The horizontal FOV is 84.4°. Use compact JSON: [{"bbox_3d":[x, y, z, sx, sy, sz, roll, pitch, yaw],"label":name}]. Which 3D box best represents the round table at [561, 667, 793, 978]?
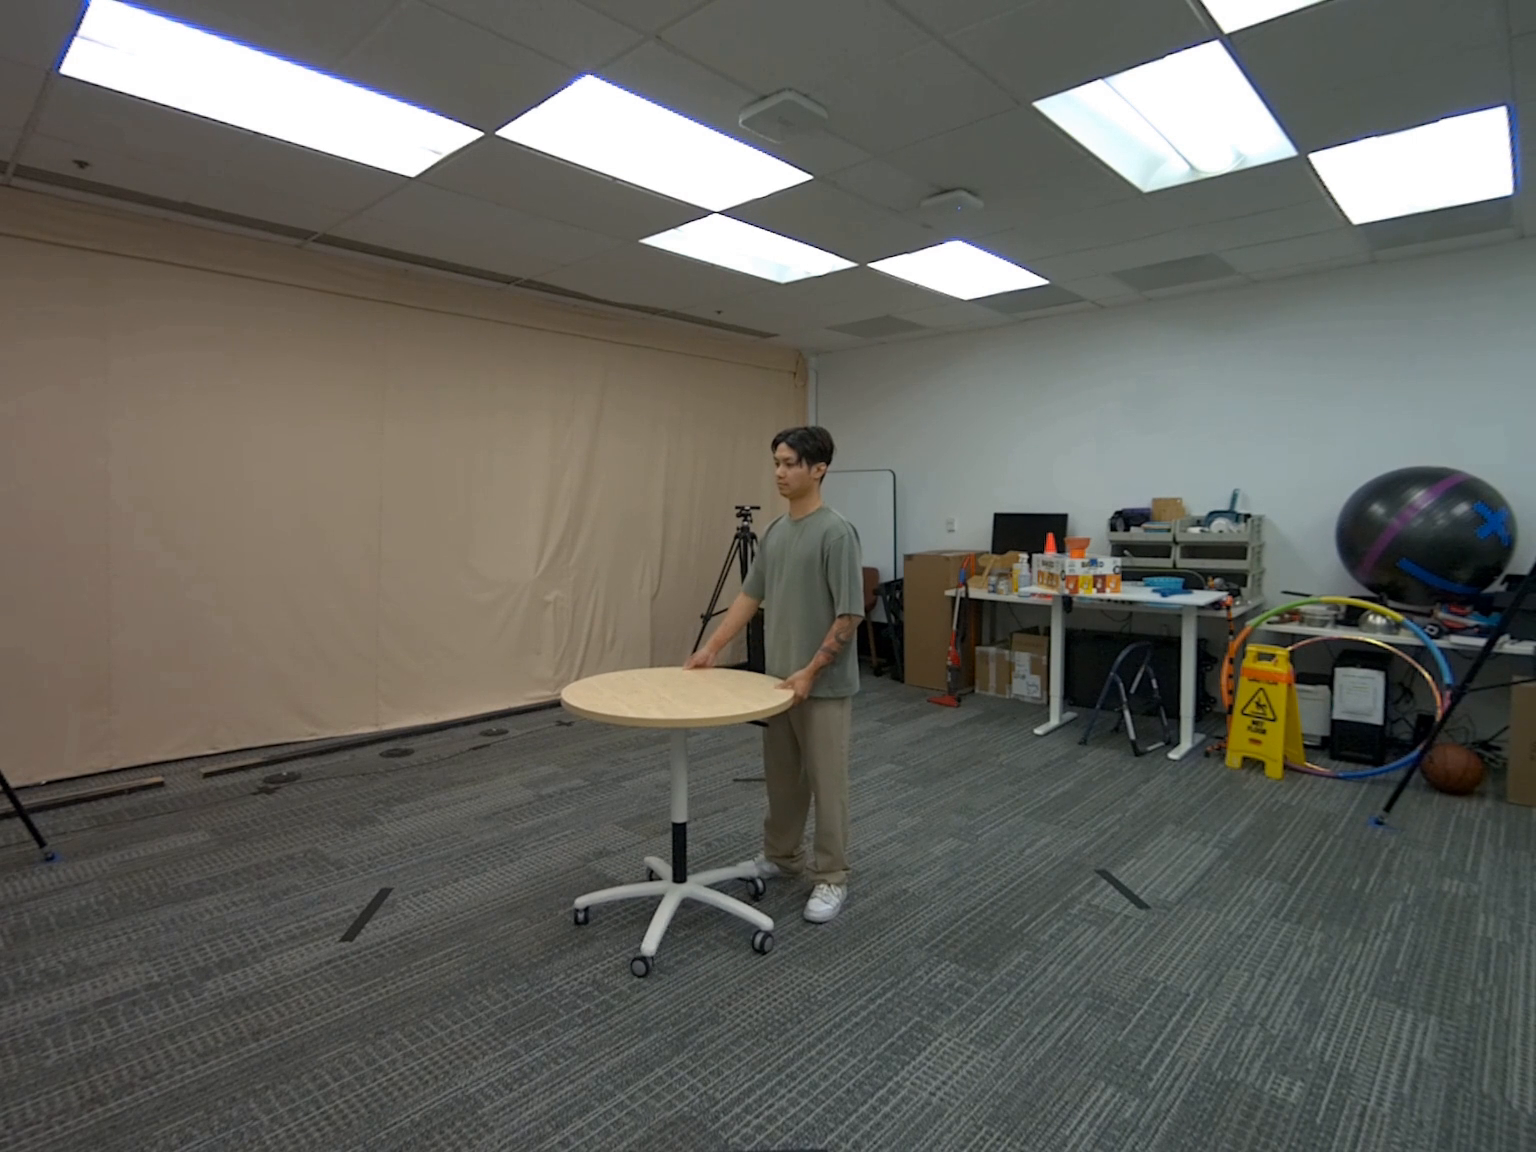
[{"bbox_3d":[-0.307,0.768,2.804,0.784,0.785,0.788,0,4,-2],"label":"round table"}]
